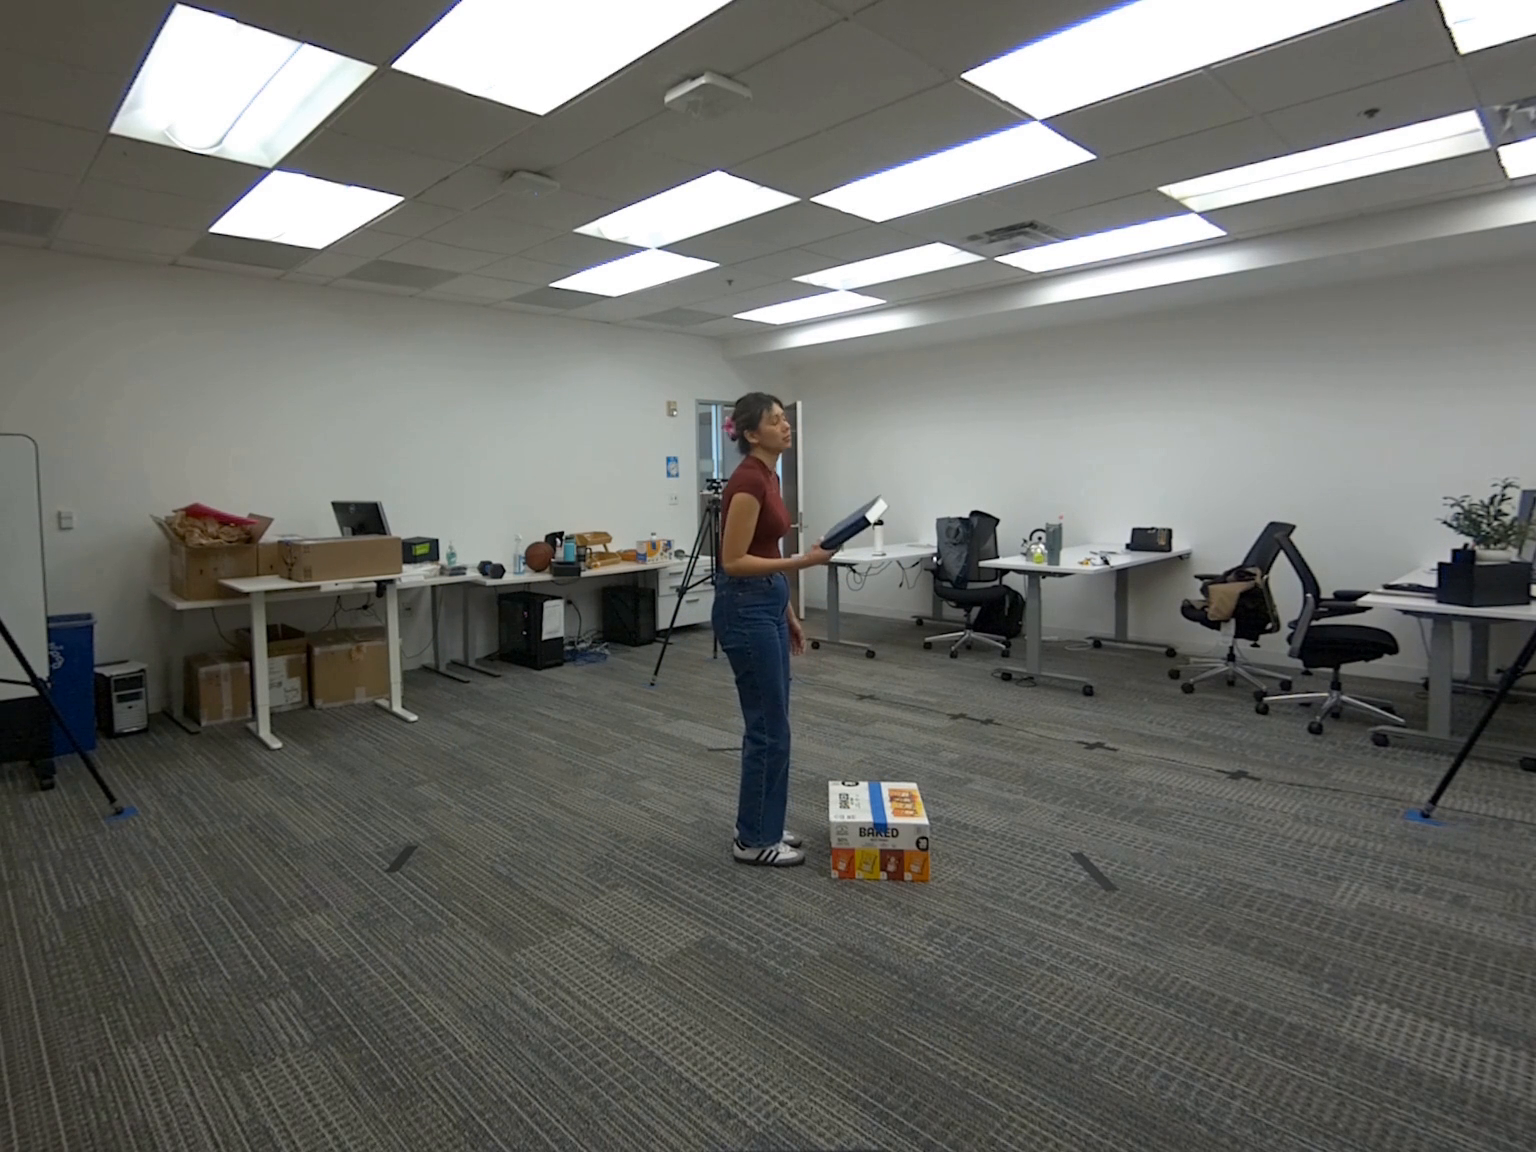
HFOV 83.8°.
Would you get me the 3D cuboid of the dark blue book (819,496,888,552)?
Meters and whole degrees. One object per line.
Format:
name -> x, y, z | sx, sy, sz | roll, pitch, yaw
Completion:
dark blue book -> 0.284, -0.162, 2.922 | 0.247, 0.045, 0.163 | -34, 7, 40
